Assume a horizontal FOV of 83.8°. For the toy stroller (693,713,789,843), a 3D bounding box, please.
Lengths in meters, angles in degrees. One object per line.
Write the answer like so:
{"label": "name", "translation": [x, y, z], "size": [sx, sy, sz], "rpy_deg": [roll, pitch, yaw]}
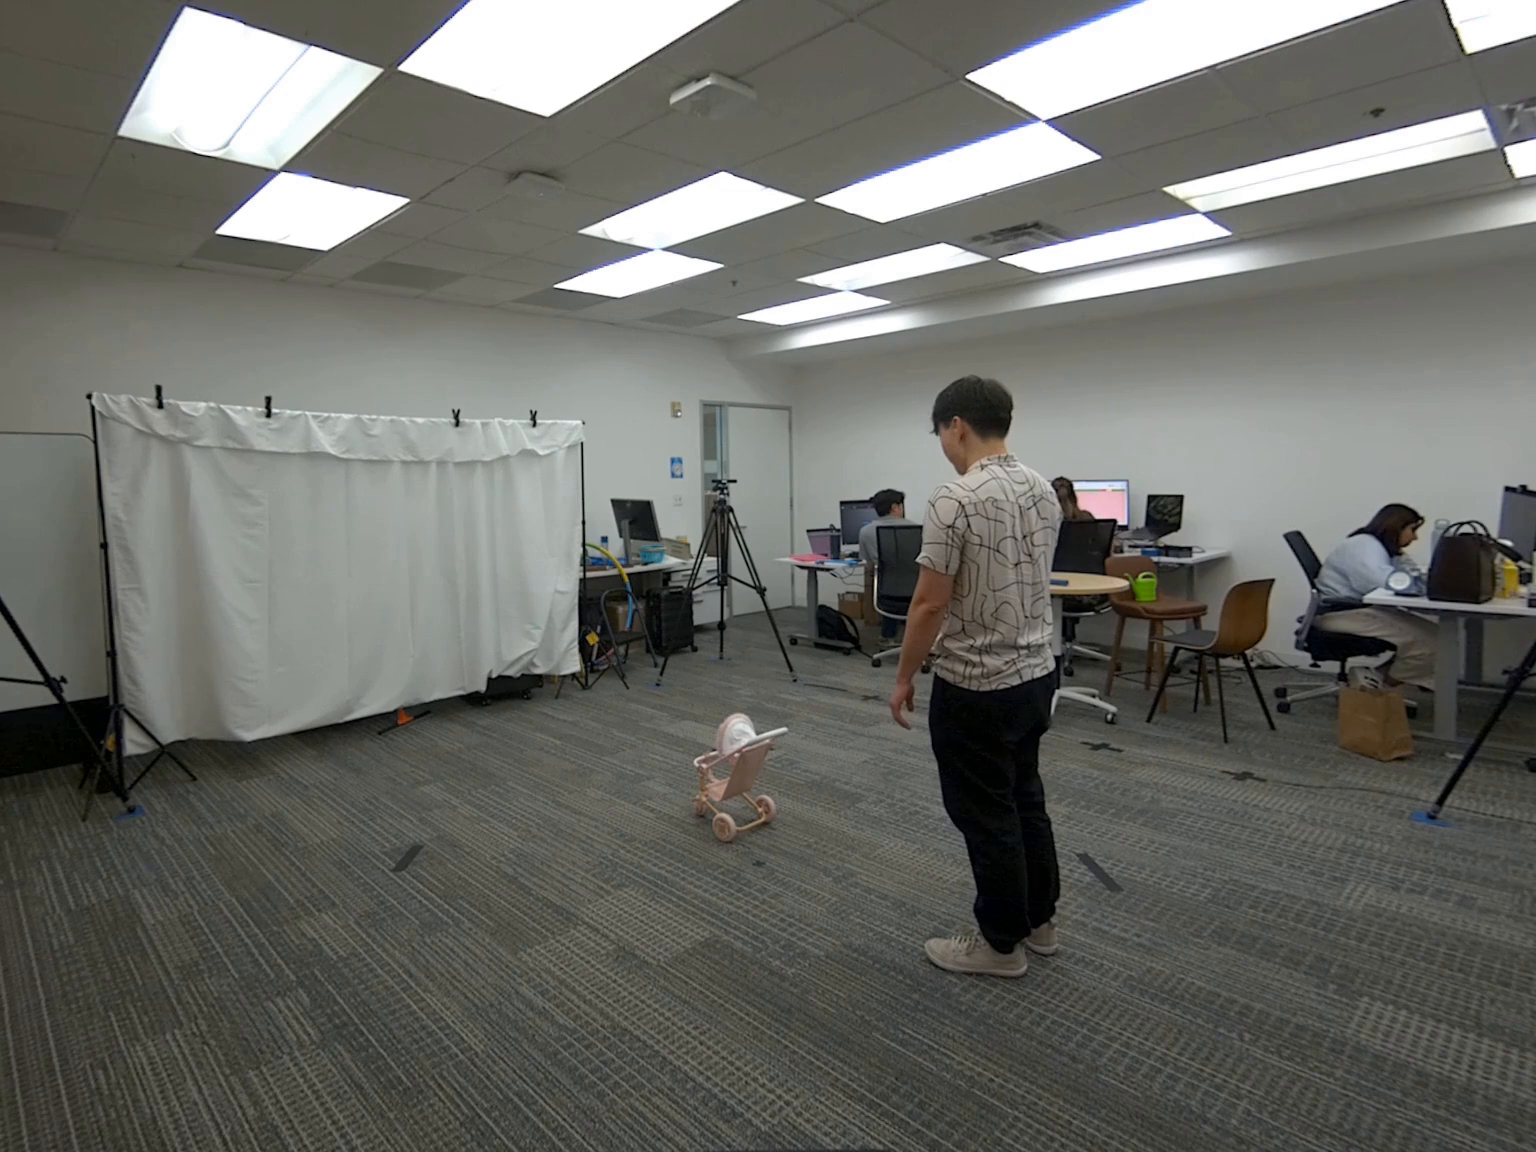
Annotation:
{"label": "toy stroller", "translation": [-0.139, 0.788, 3.431], "size": [0.274, 0.529, 0.354], "rpy_deg": [-3, 20, -44]}
